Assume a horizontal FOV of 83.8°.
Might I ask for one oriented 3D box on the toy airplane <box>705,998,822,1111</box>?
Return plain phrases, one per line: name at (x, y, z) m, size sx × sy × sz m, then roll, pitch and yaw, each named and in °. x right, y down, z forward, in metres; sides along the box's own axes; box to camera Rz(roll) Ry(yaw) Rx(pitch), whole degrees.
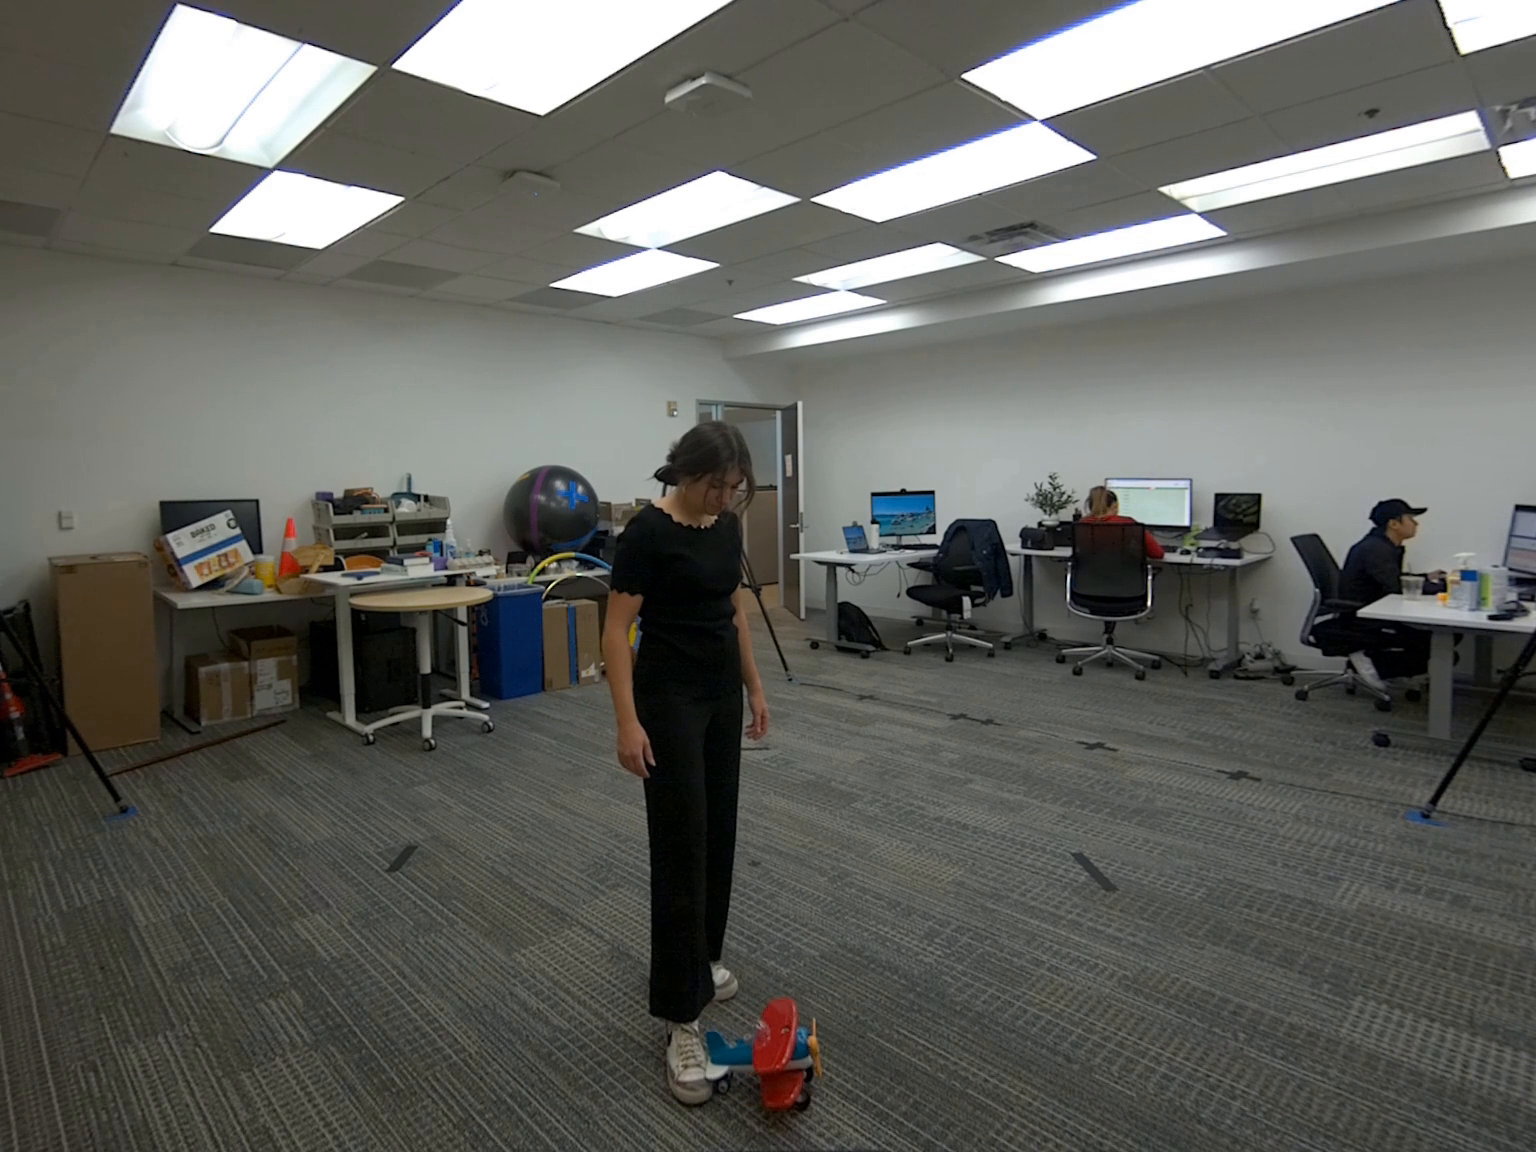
toy airplane at (0.000, 1.103, 1.939) m, size 0.255 × 0.156 × 0.256 m, roll -1°, pitch 5°, yaw -20°
